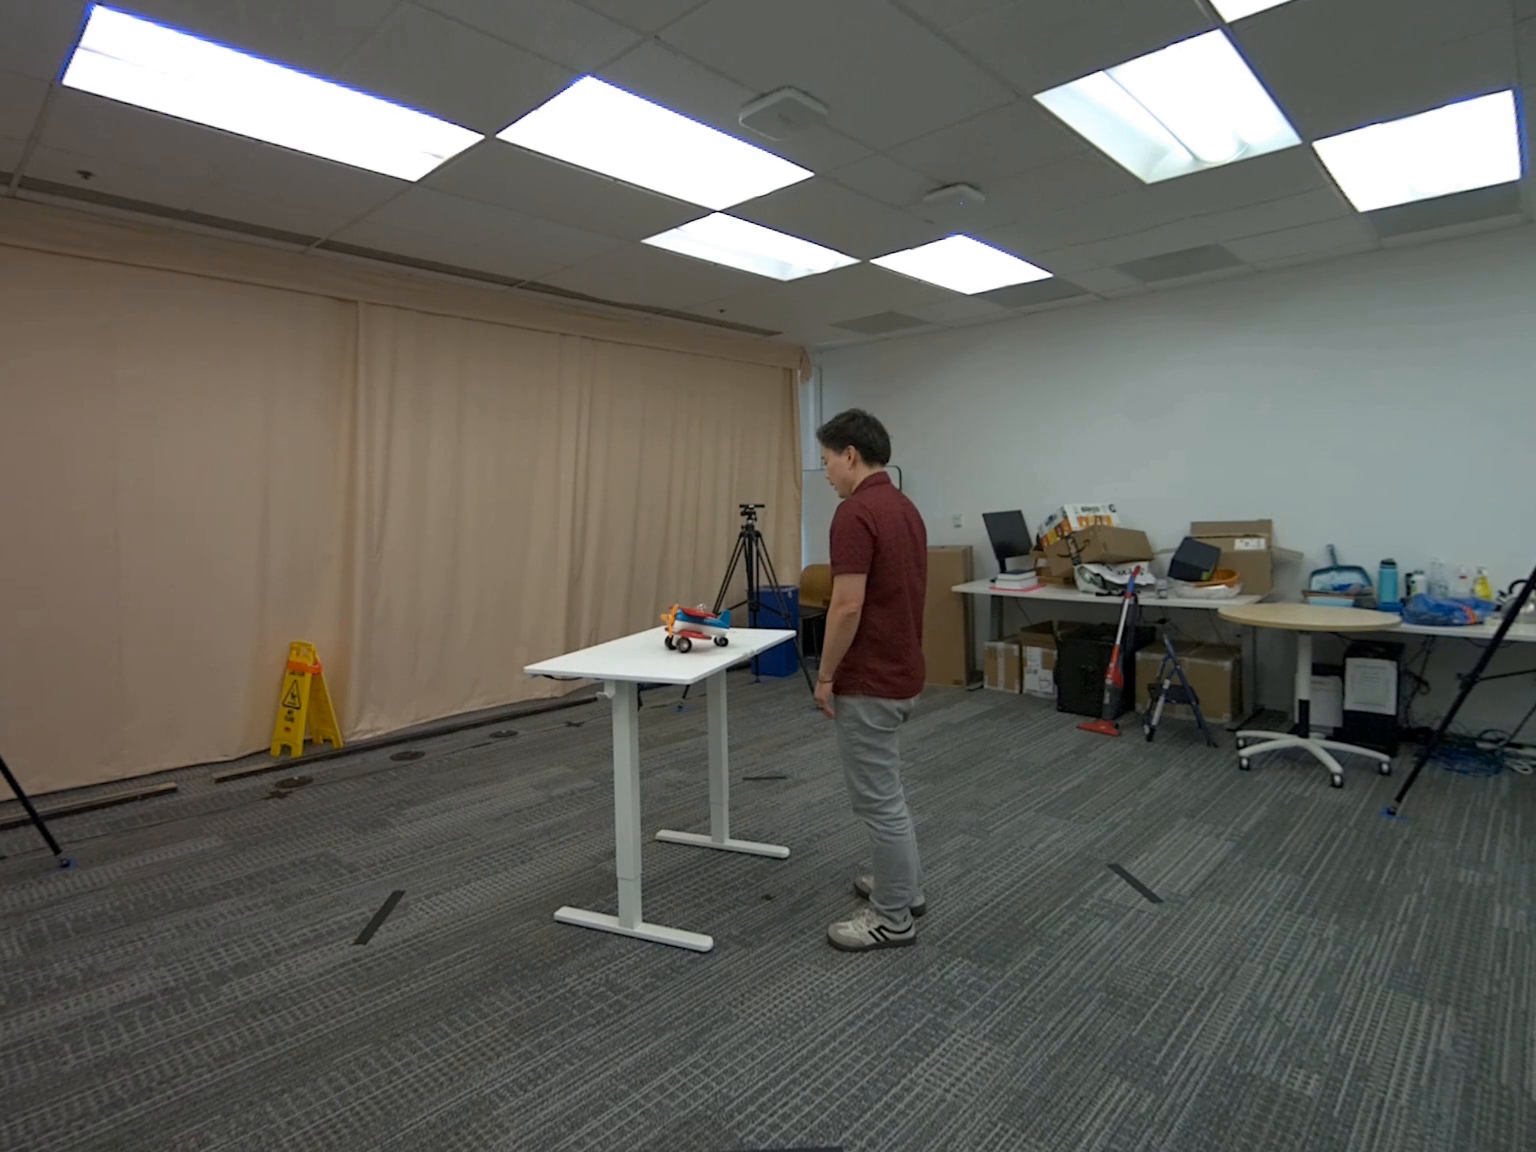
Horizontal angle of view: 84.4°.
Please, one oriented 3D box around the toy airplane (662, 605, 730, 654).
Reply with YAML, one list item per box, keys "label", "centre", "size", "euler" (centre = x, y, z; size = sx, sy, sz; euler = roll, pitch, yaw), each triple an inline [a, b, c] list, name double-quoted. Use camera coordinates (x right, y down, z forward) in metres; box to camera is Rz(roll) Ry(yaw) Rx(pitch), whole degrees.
- label: "toy airplane"
  centre: [-0.260, 0.183, 3.020]
  size: [0.258, 0.156, 0.252]
  euler: [1, 5, 30]
